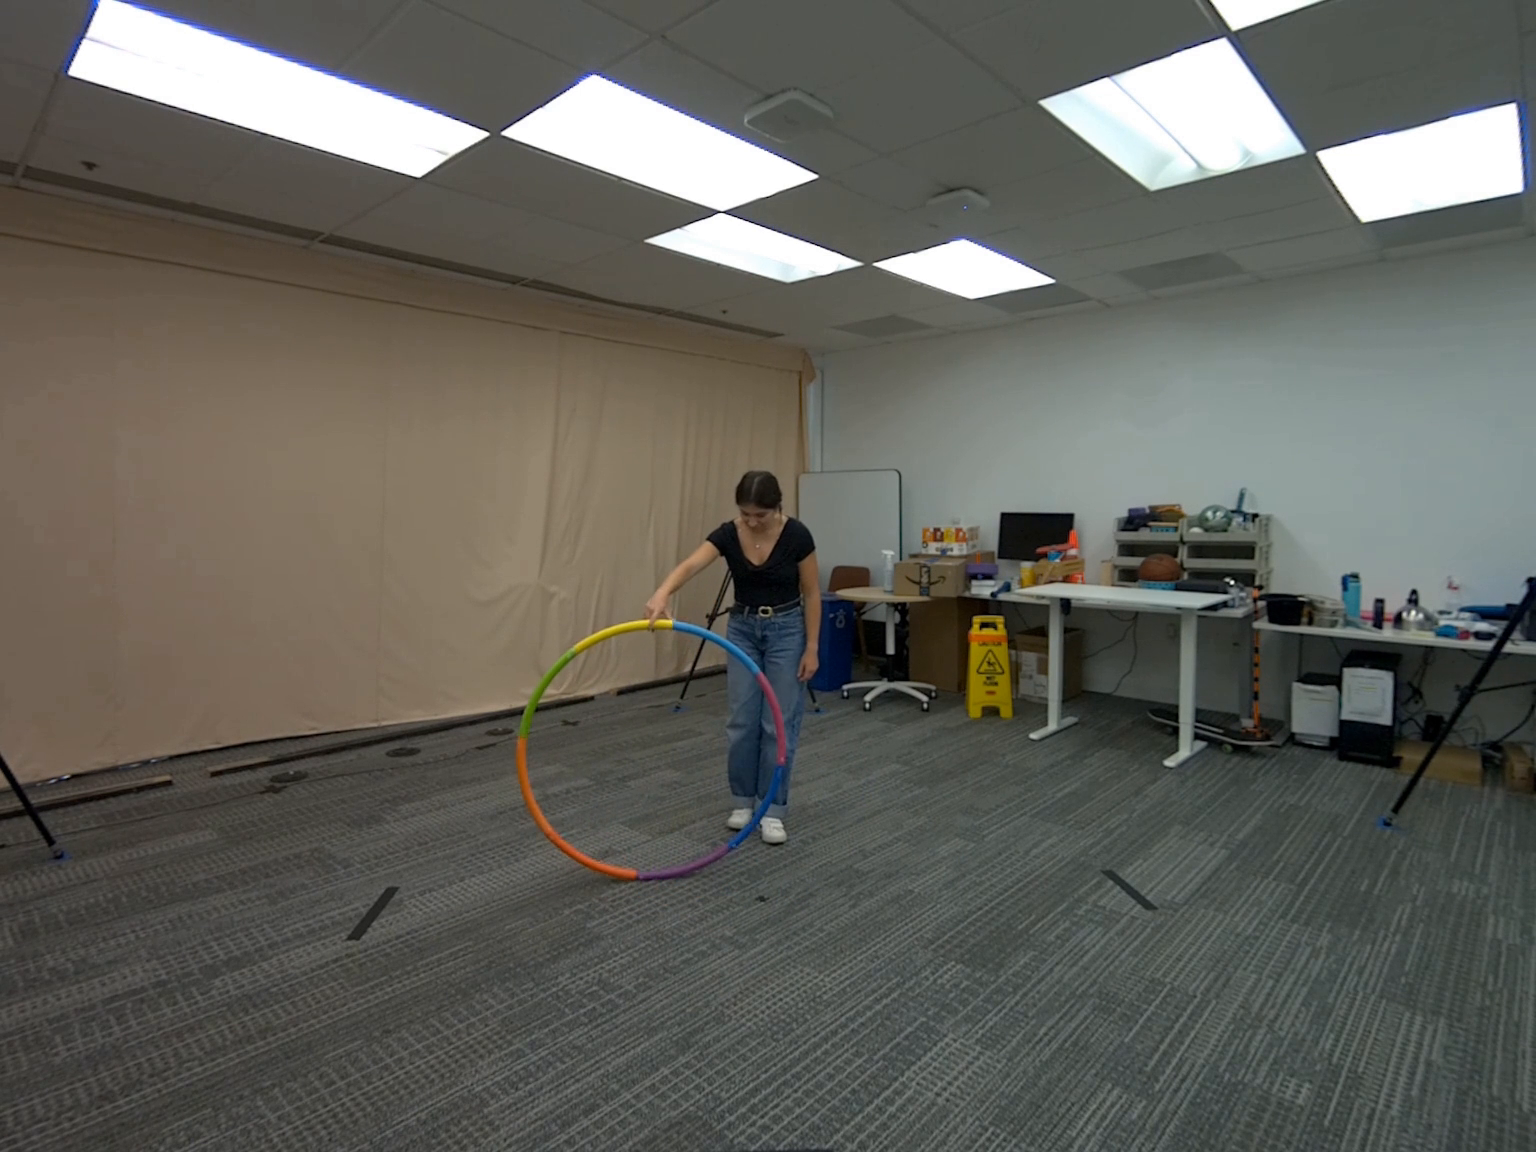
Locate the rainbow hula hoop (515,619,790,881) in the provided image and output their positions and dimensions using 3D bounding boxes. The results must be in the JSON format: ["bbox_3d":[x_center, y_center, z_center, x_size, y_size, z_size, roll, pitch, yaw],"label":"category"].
[{"bbox_3d":[-0.422,0.656,3.111,0.971,0.976,0.036,0,4,-7],"label":"rainbow hula hoop"}]
